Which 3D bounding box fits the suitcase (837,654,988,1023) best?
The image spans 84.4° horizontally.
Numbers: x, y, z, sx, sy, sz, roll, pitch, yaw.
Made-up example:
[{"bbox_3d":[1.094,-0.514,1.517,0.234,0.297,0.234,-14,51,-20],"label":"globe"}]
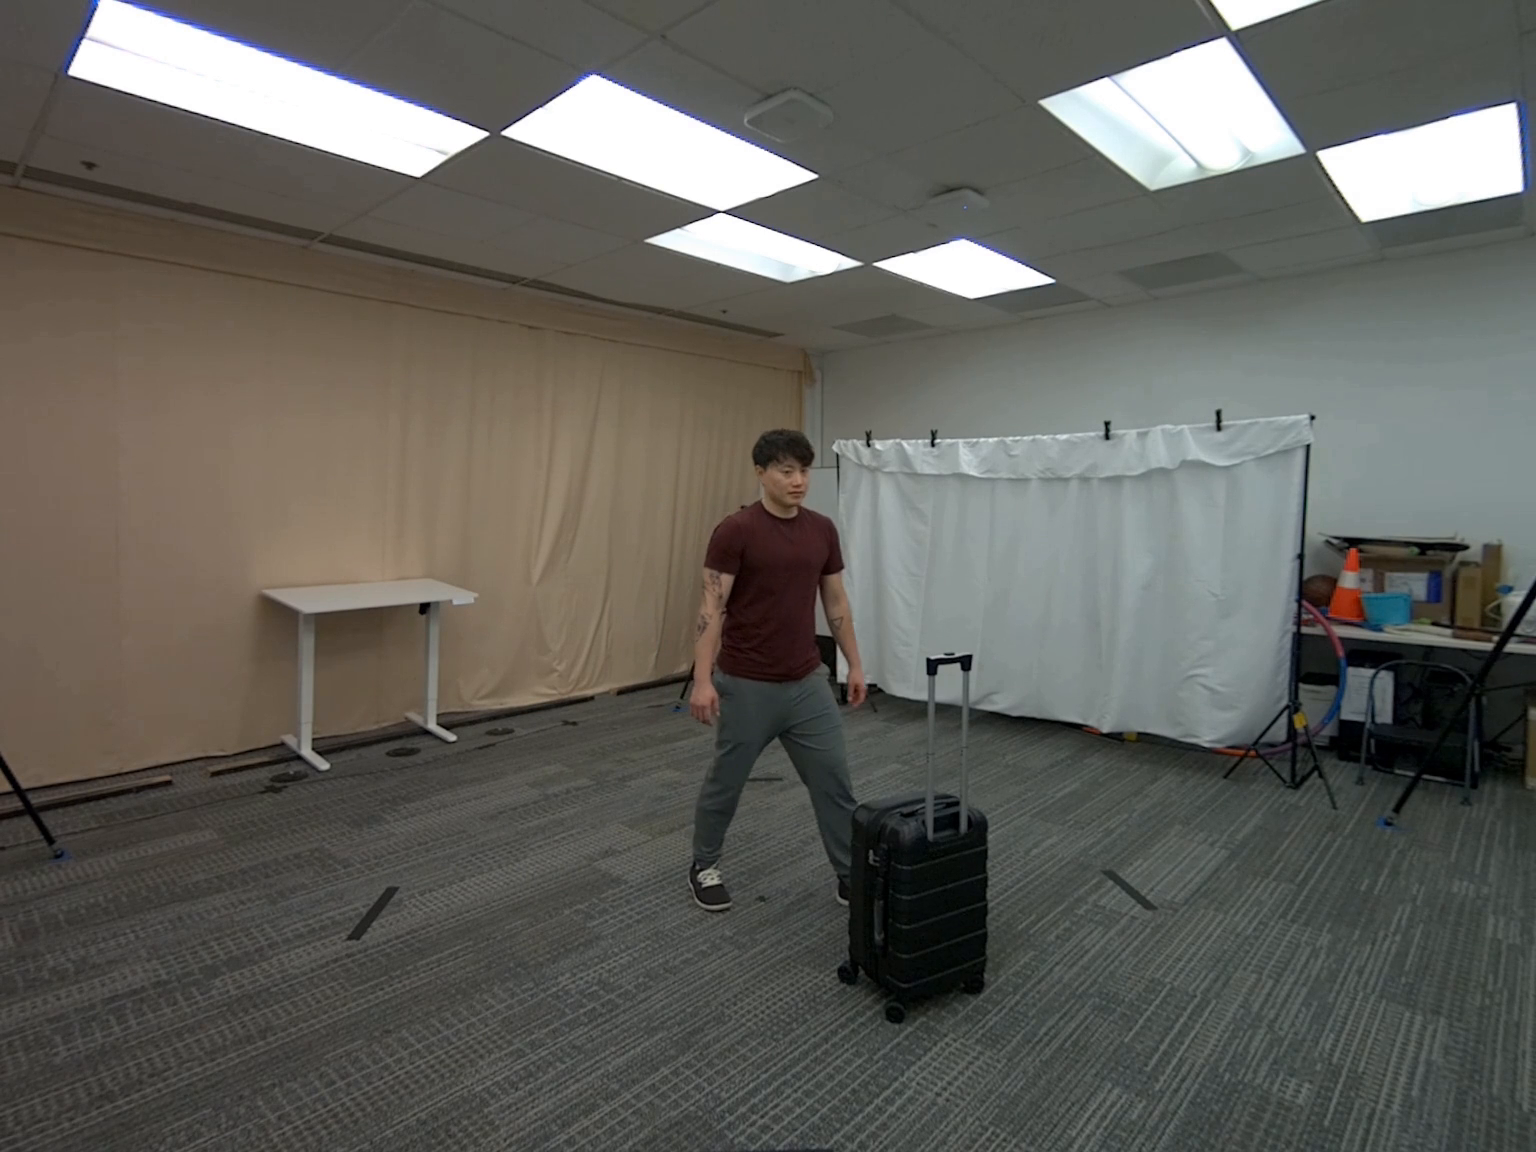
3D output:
[{"bbox_3d":[0.436,0.707,2.417,0.374,0.977,0.264,0,3,-29],"label":"suitcase"}]
